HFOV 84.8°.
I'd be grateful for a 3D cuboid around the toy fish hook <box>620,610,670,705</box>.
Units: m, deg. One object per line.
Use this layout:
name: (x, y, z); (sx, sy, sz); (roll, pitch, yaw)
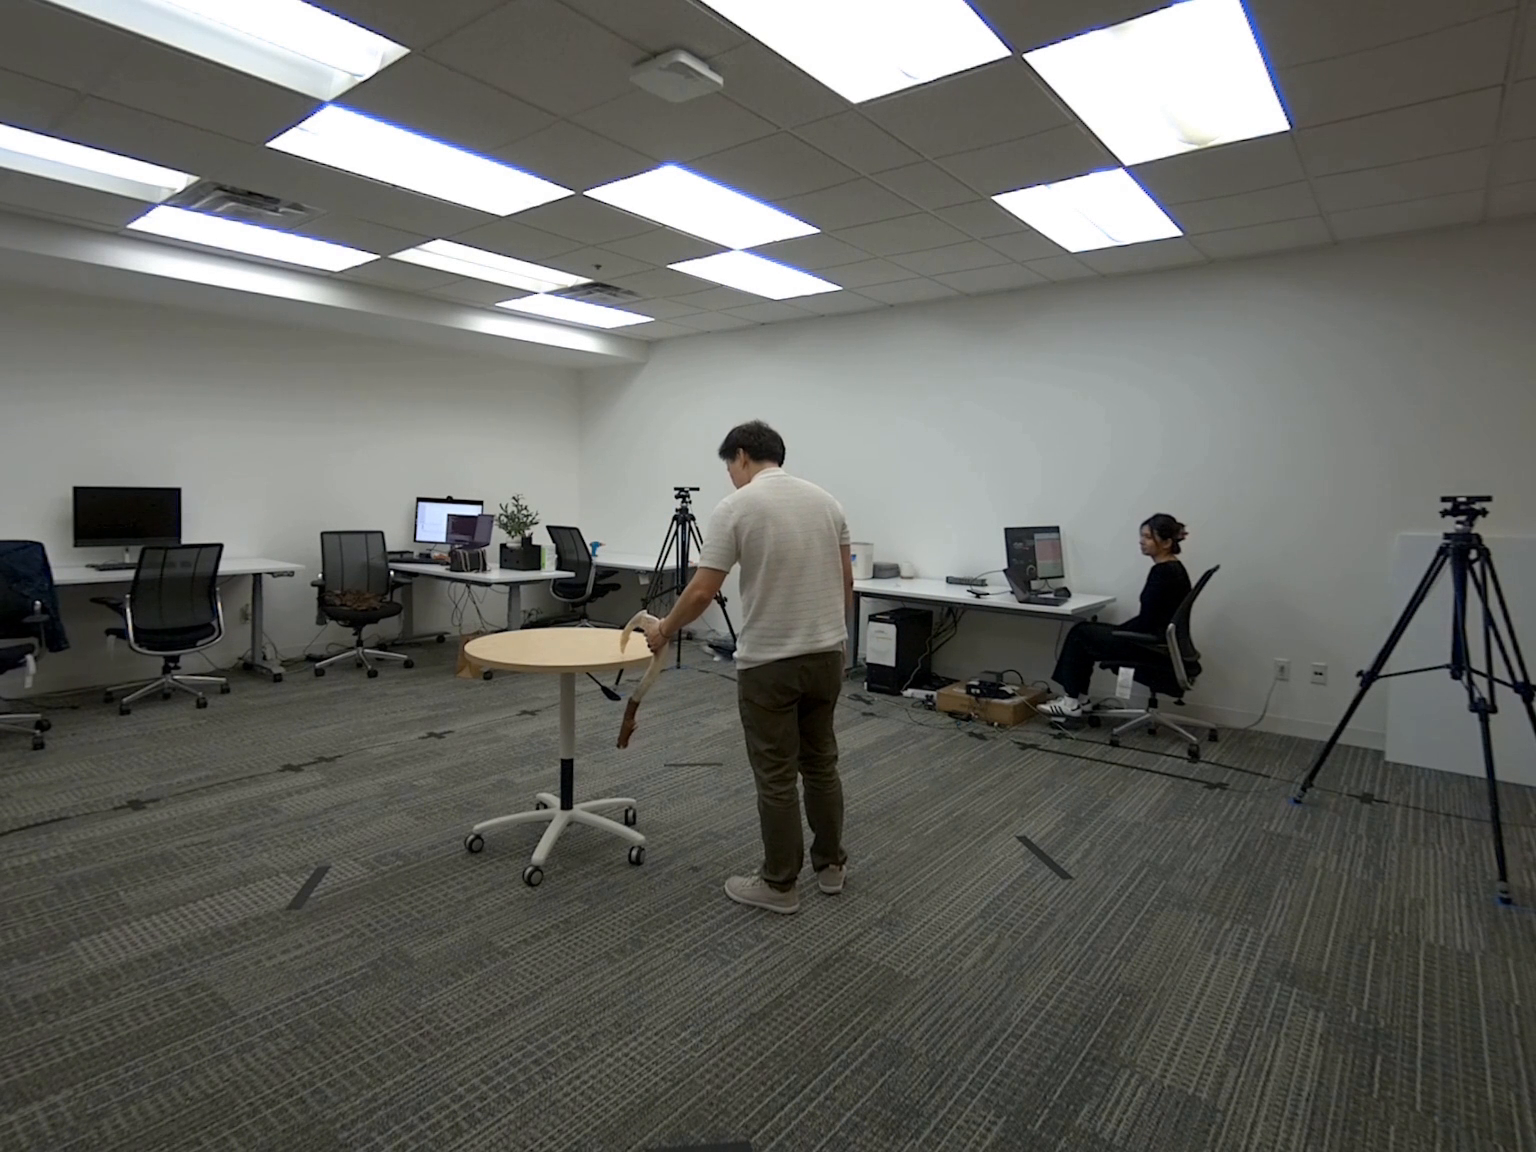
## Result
toy fish hook: (-0.499, 0.368, 3.038); (0.046, 0.503, 0.234); (6, 20, -47)
